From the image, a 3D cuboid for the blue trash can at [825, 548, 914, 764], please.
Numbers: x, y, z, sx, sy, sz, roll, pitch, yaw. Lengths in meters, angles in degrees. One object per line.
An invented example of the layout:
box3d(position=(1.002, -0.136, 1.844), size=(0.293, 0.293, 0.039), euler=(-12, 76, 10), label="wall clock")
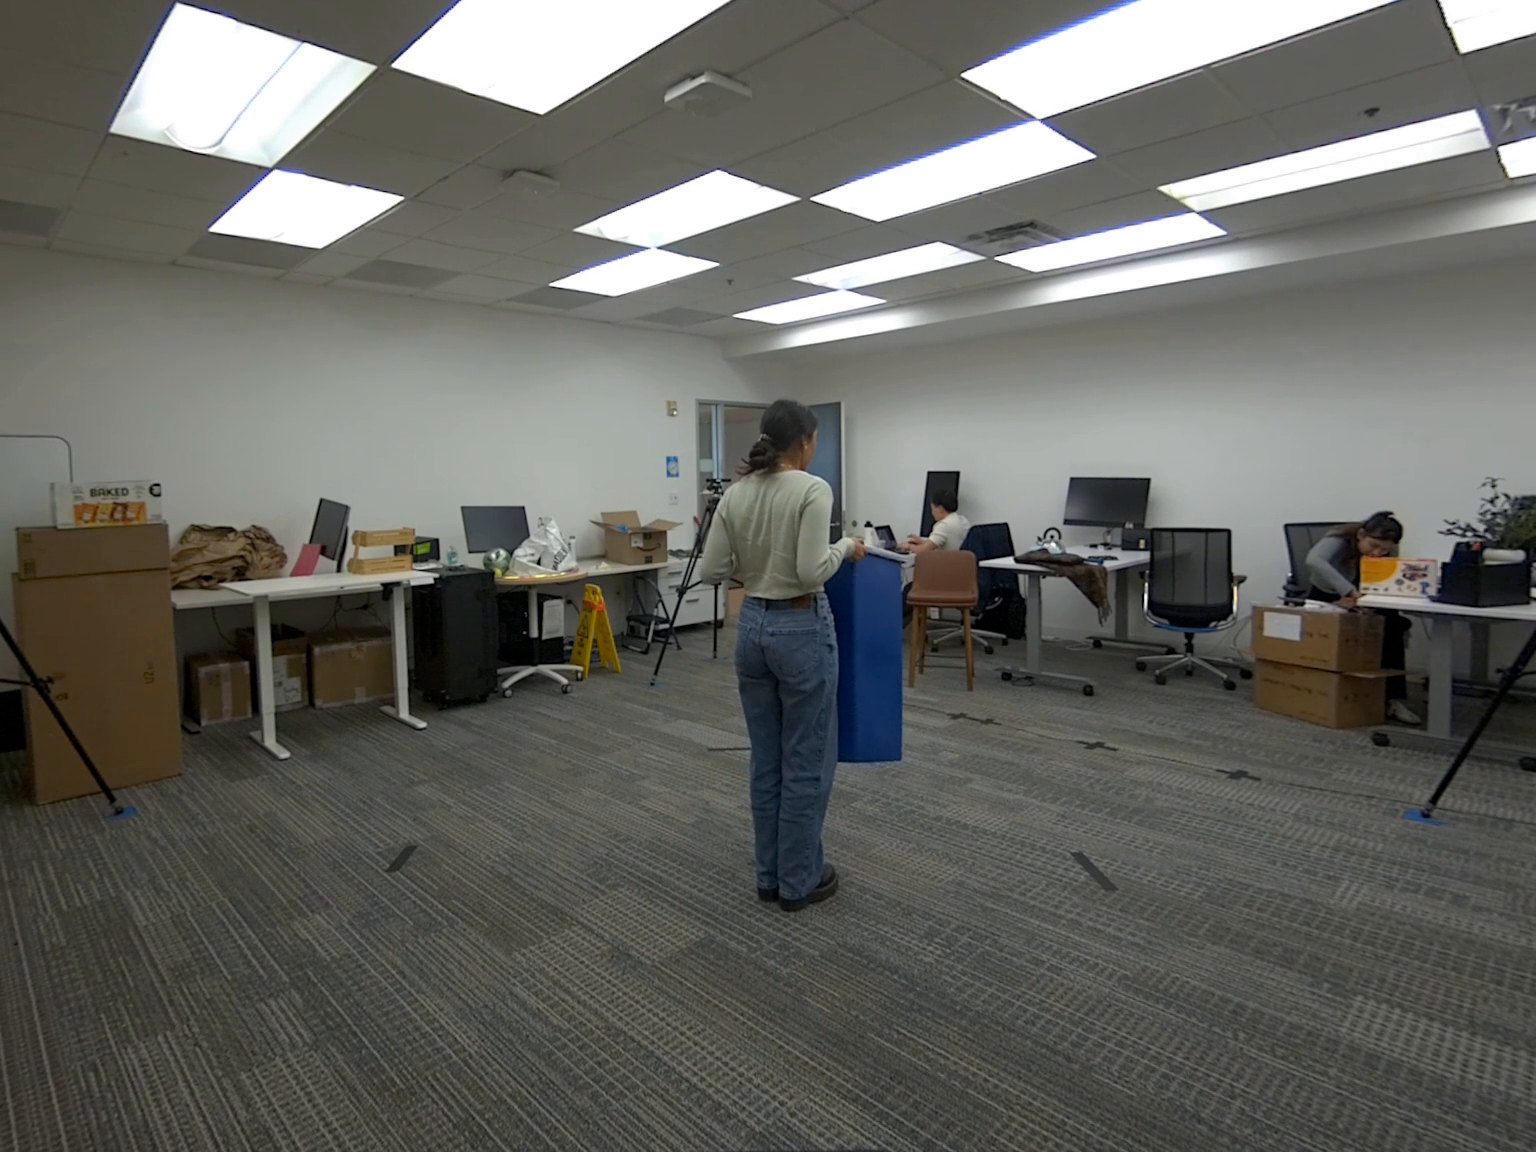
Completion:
box3d(position=(0.259, 0.280, 3.006), size=(0.387, 0.721, 0.361), euler=(-9, -14, 38), label="blue trash can")
